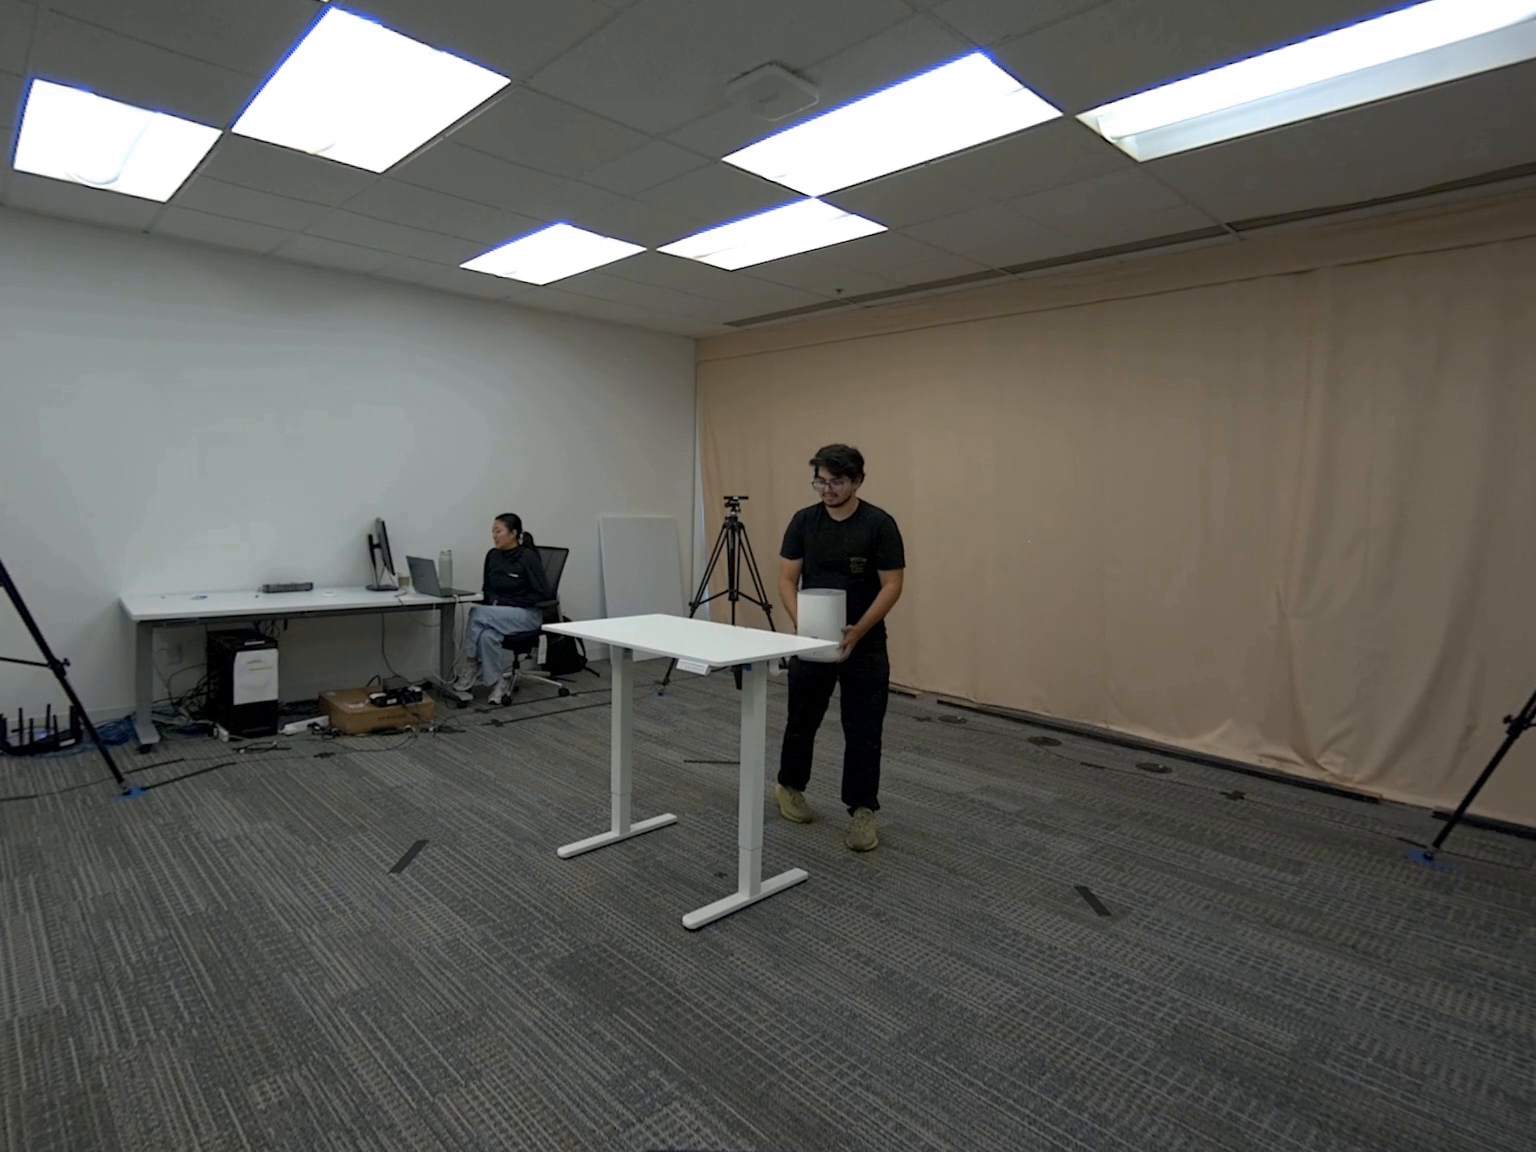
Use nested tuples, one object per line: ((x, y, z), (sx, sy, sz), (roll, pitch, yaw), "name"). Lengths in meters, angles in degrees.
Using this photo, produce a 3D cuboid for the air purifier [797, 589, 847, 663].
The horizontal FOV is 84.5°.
((0.201, 0.193, 3.281), (0.174, 0.264, 0.169), (1, 5, 23), "air purifier")
